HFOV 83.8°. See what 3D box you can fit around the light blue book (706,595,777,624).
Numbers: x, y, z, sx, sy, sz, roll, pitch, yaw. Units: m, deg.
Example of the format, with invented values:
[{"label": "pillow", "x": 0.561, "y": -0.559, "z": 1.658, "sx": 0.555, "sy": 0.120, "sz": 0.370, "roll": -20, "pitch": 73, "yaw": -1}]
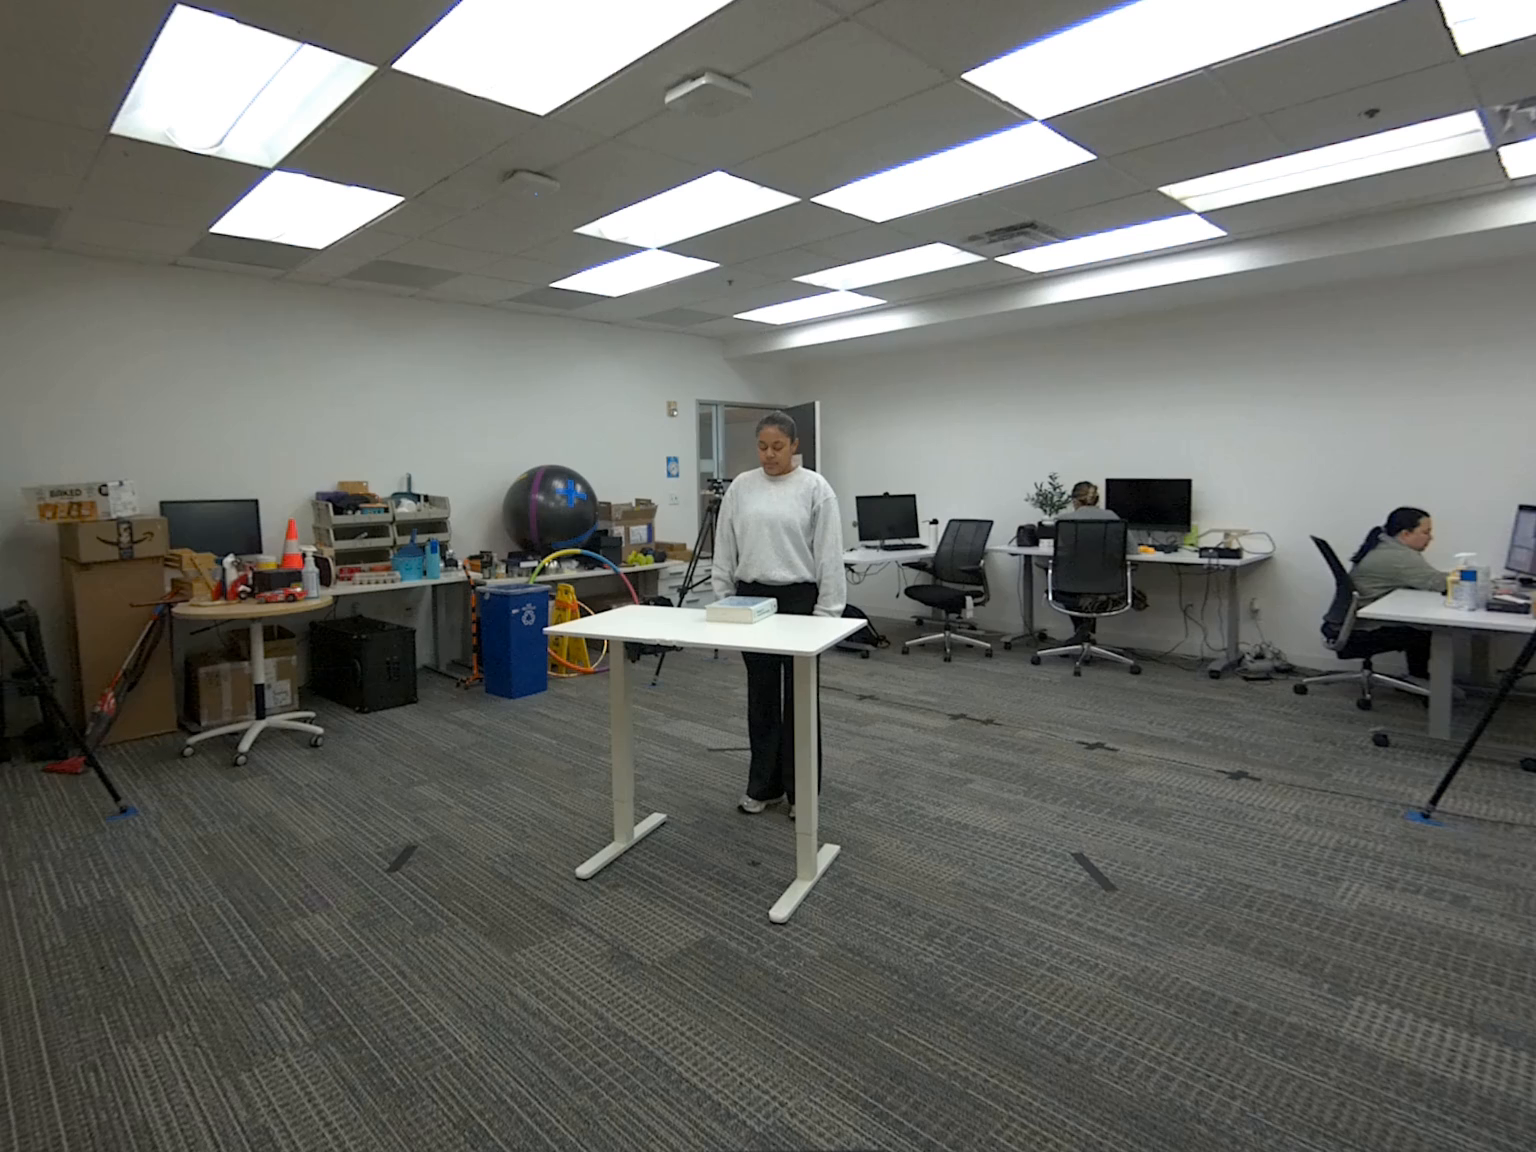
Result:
[{"label": "light blue book", "x": -0.119, "y": 0.126, "z": 3.185, "sx": 0.195, "sy": 0.059, "sz": 0.257, "roll": 1, "pitch": 7, "yaw": 19}]
